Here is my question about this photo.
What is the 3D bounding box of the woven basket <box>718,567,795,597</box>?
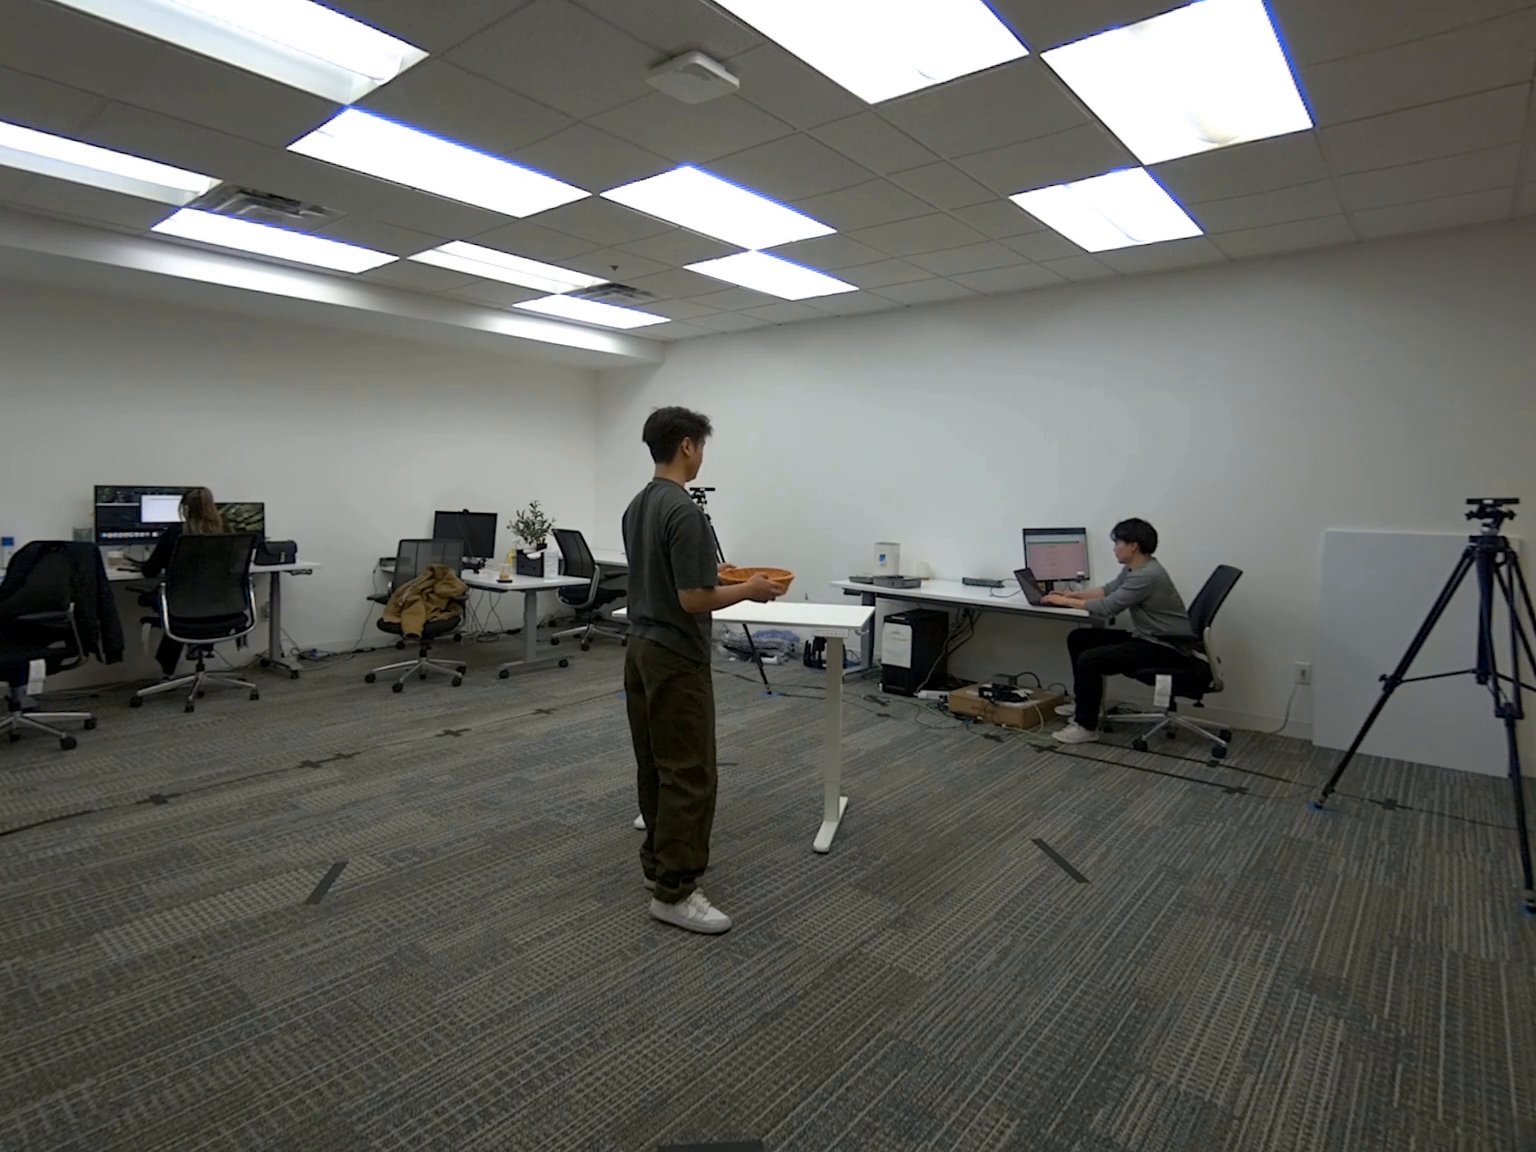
[{"bbox_3d":[-0.081,0.037,3.003,0.246,0.073,0.362,-9,11,-38],"label":"woven basket"}]
